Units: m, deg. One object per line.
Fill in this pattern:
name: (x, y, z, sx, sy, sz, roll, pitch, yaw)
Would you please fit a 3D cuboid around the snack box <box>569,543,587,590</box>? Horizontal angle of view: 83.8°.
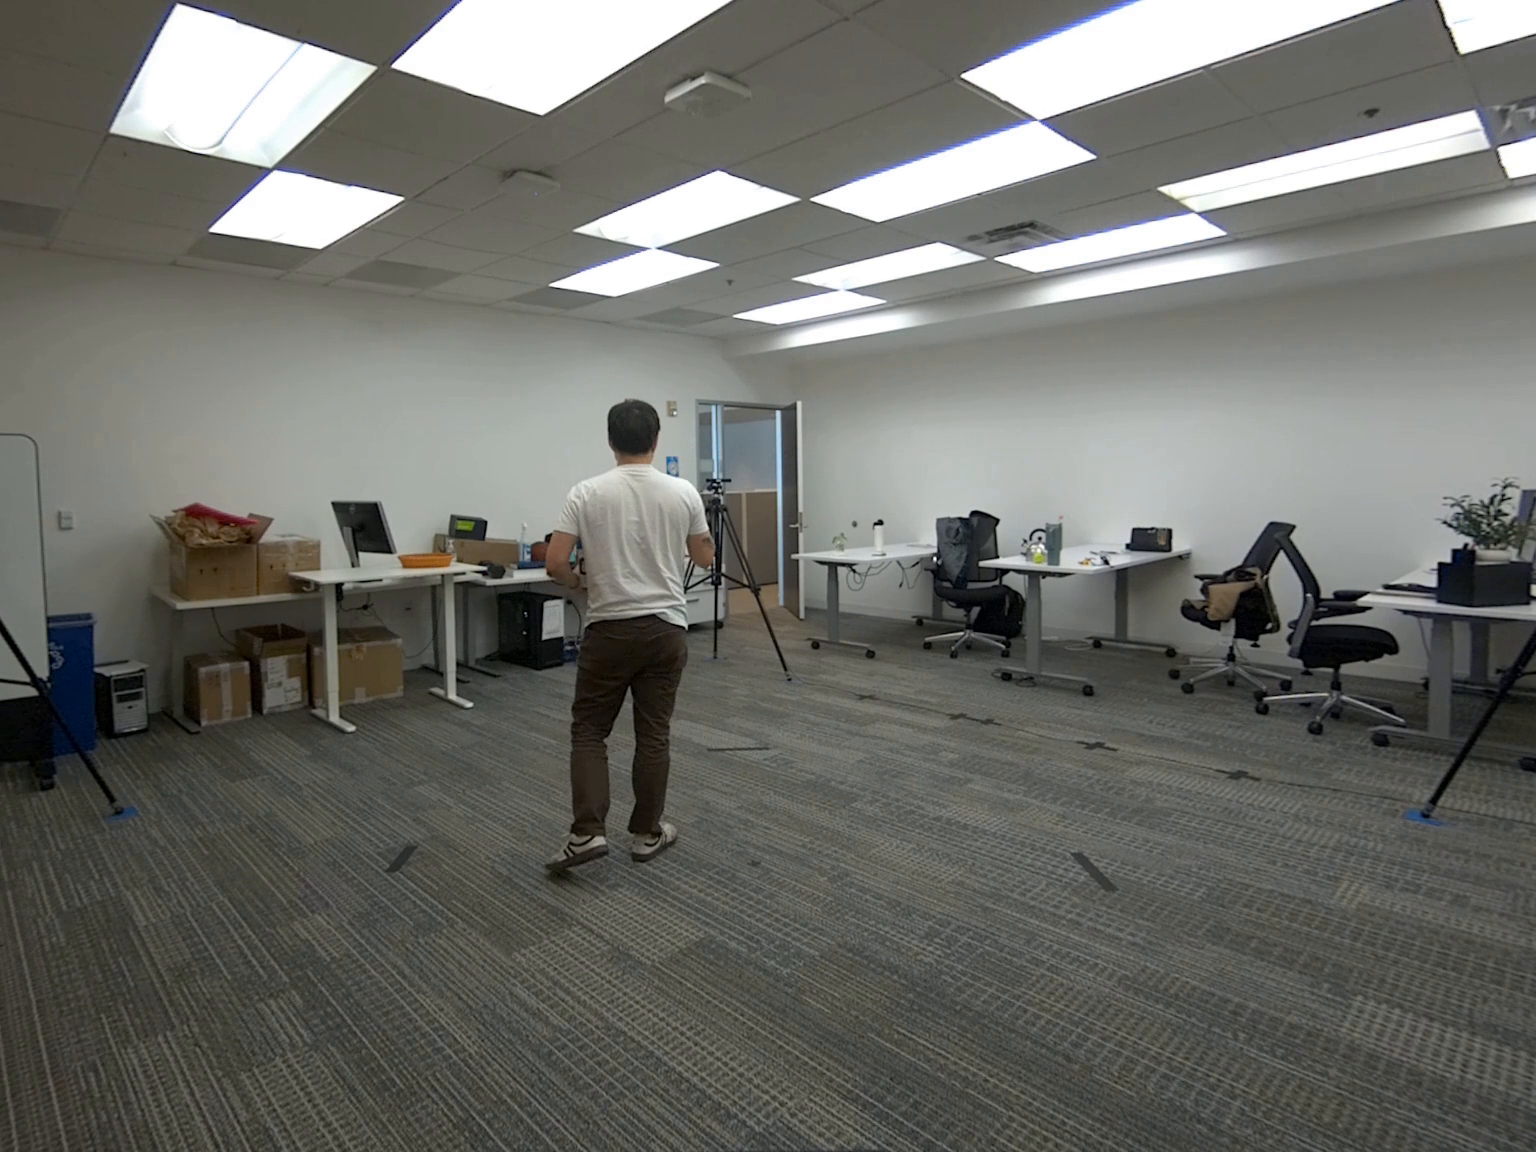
snack box: (-0.540, -0.159, 3.343, 0.404, 0.336, 0.209, -4, 13, -4)
